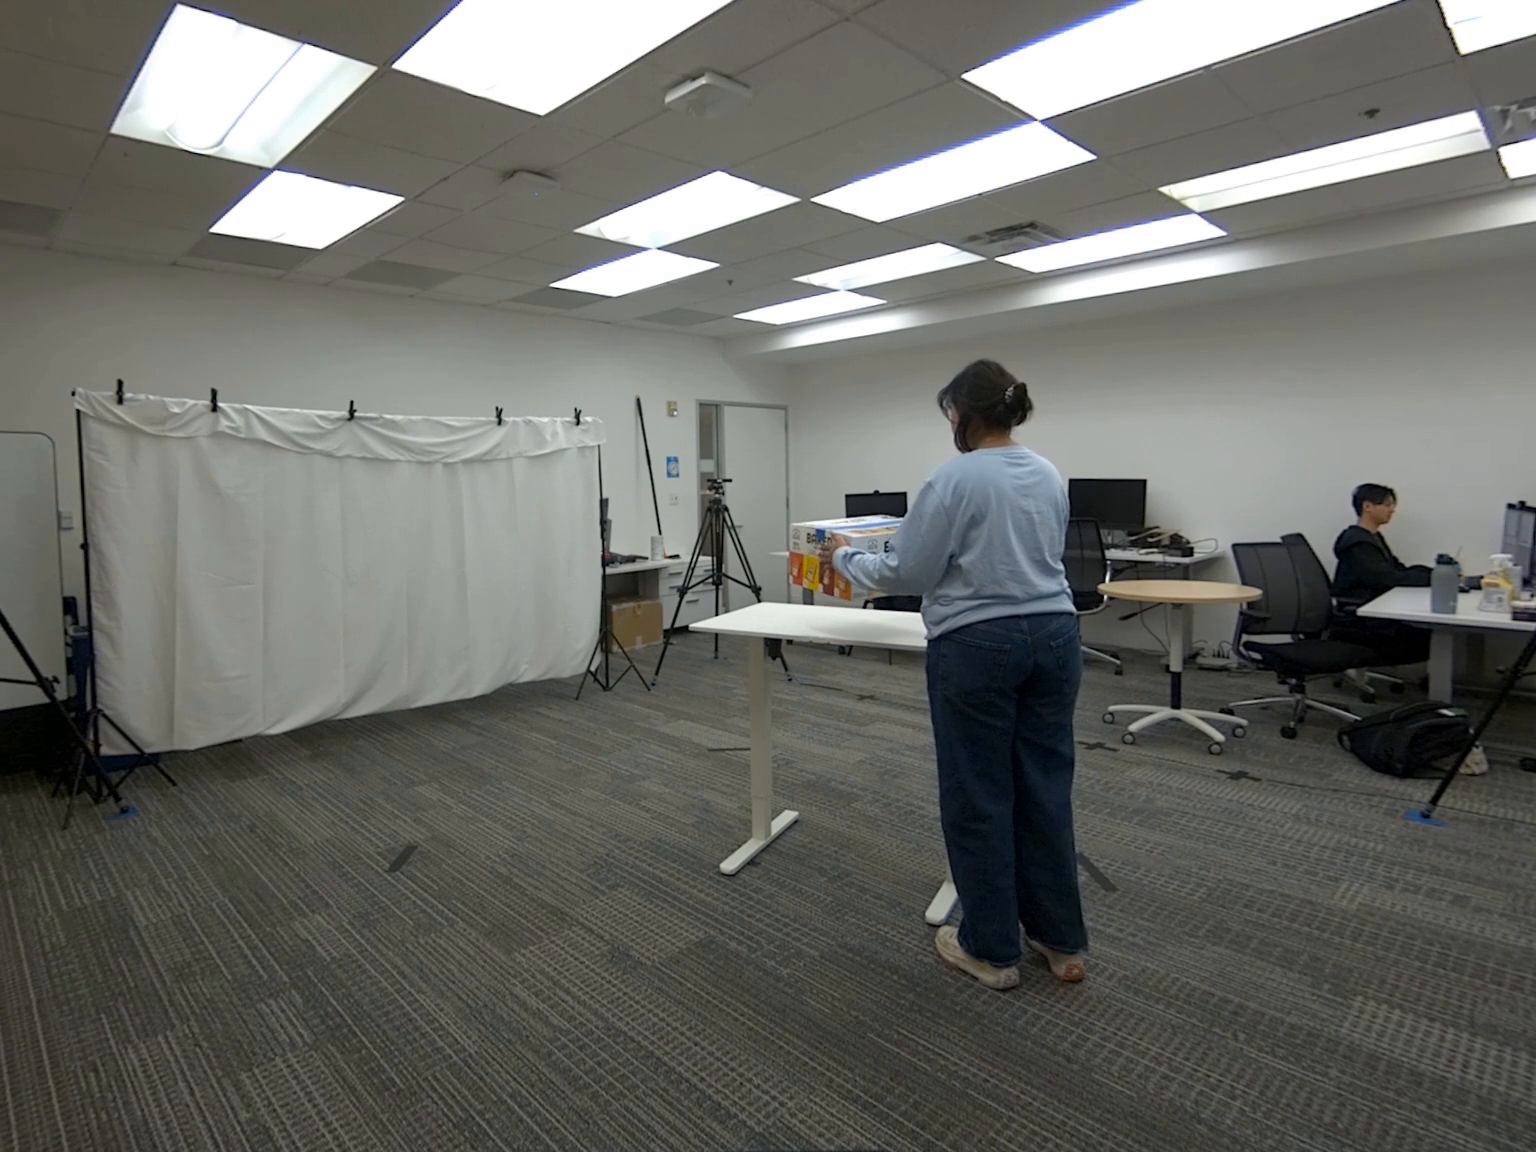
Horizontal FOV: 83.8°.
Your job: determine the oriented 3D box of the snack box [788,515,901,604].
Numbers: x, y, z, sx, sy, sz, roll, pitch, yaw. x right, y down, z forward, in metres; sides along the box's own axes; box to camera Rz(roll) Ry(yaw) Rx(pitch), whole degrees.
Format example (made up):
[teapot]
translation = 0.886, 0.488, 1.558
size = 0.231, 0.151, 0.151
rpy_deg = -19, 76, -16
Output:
[snack box]
translation = 0.335, -0.065, 2.831
size = 0.396, 0.204, 0.351
rpy_deg = -7, 13, -31
